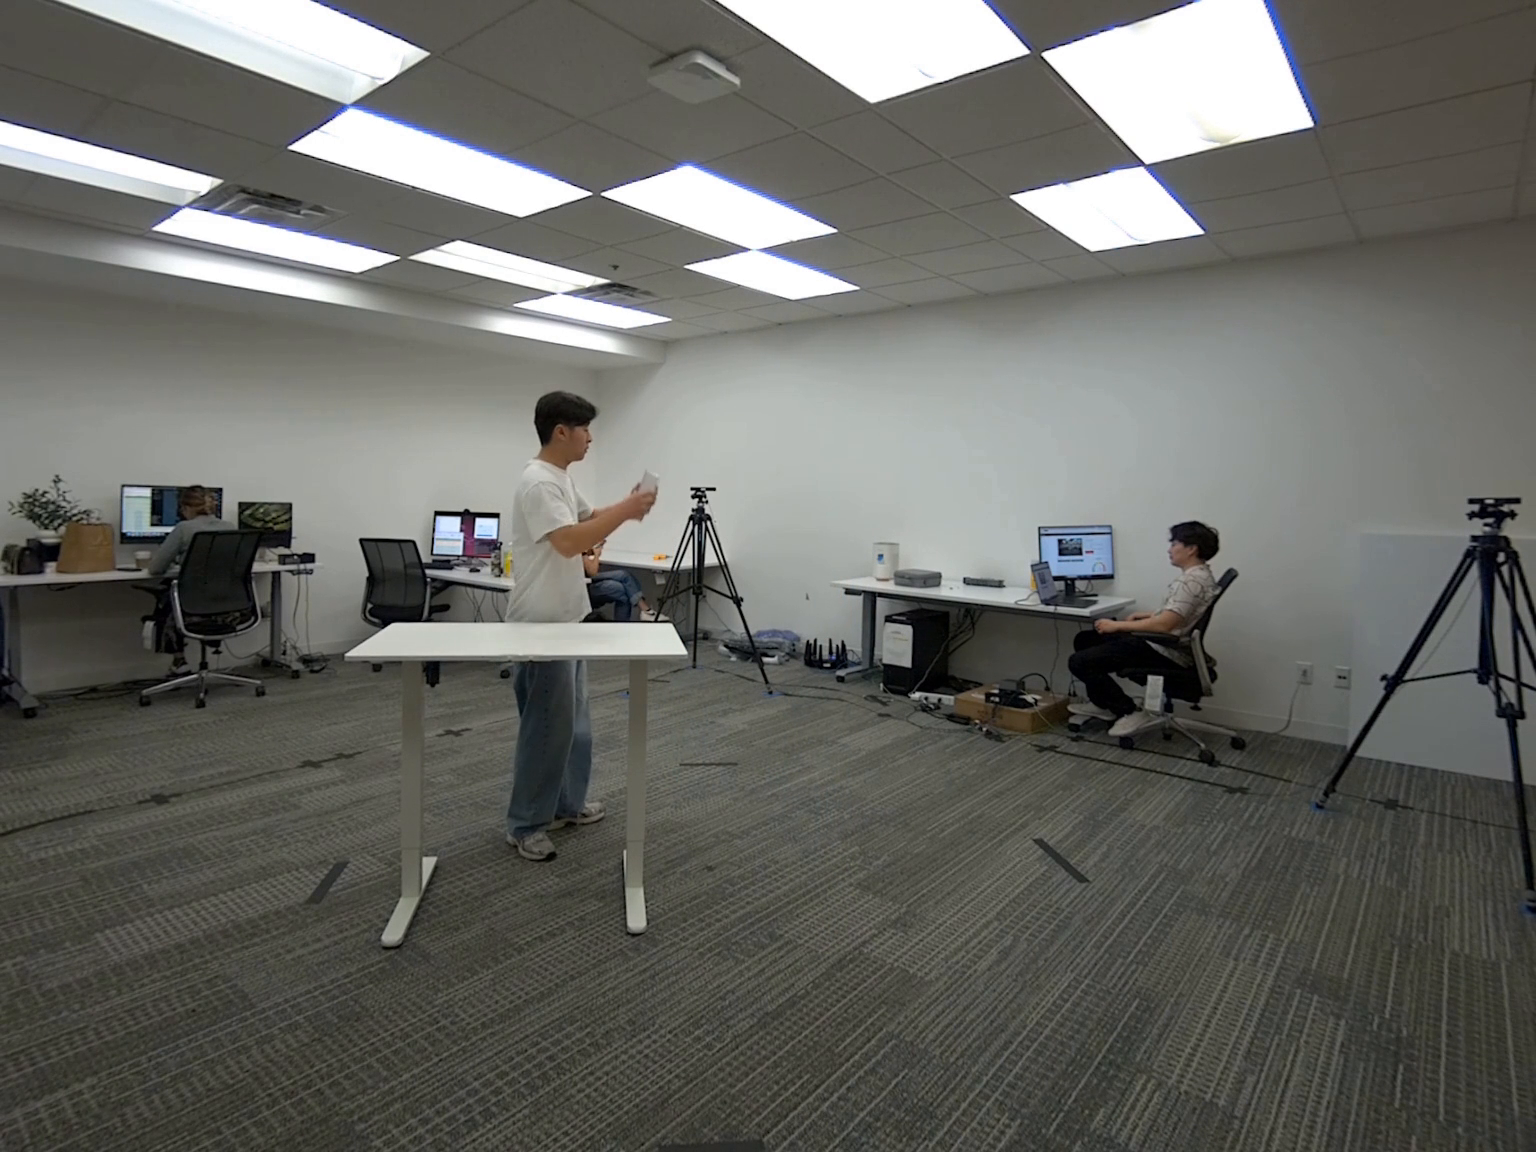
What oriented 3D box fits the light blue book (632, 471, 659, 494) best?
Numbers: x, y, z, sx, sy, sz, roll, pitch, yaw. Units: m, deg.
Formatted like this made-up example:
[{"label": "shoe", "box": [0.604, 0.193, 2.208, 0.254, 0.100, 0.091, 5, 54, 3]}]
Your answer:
[{"label": "light blue book", "box": [-0.517, -0.319, 3.295, 0.059, 0.191, 0.263, 15, 4, -6]}]
